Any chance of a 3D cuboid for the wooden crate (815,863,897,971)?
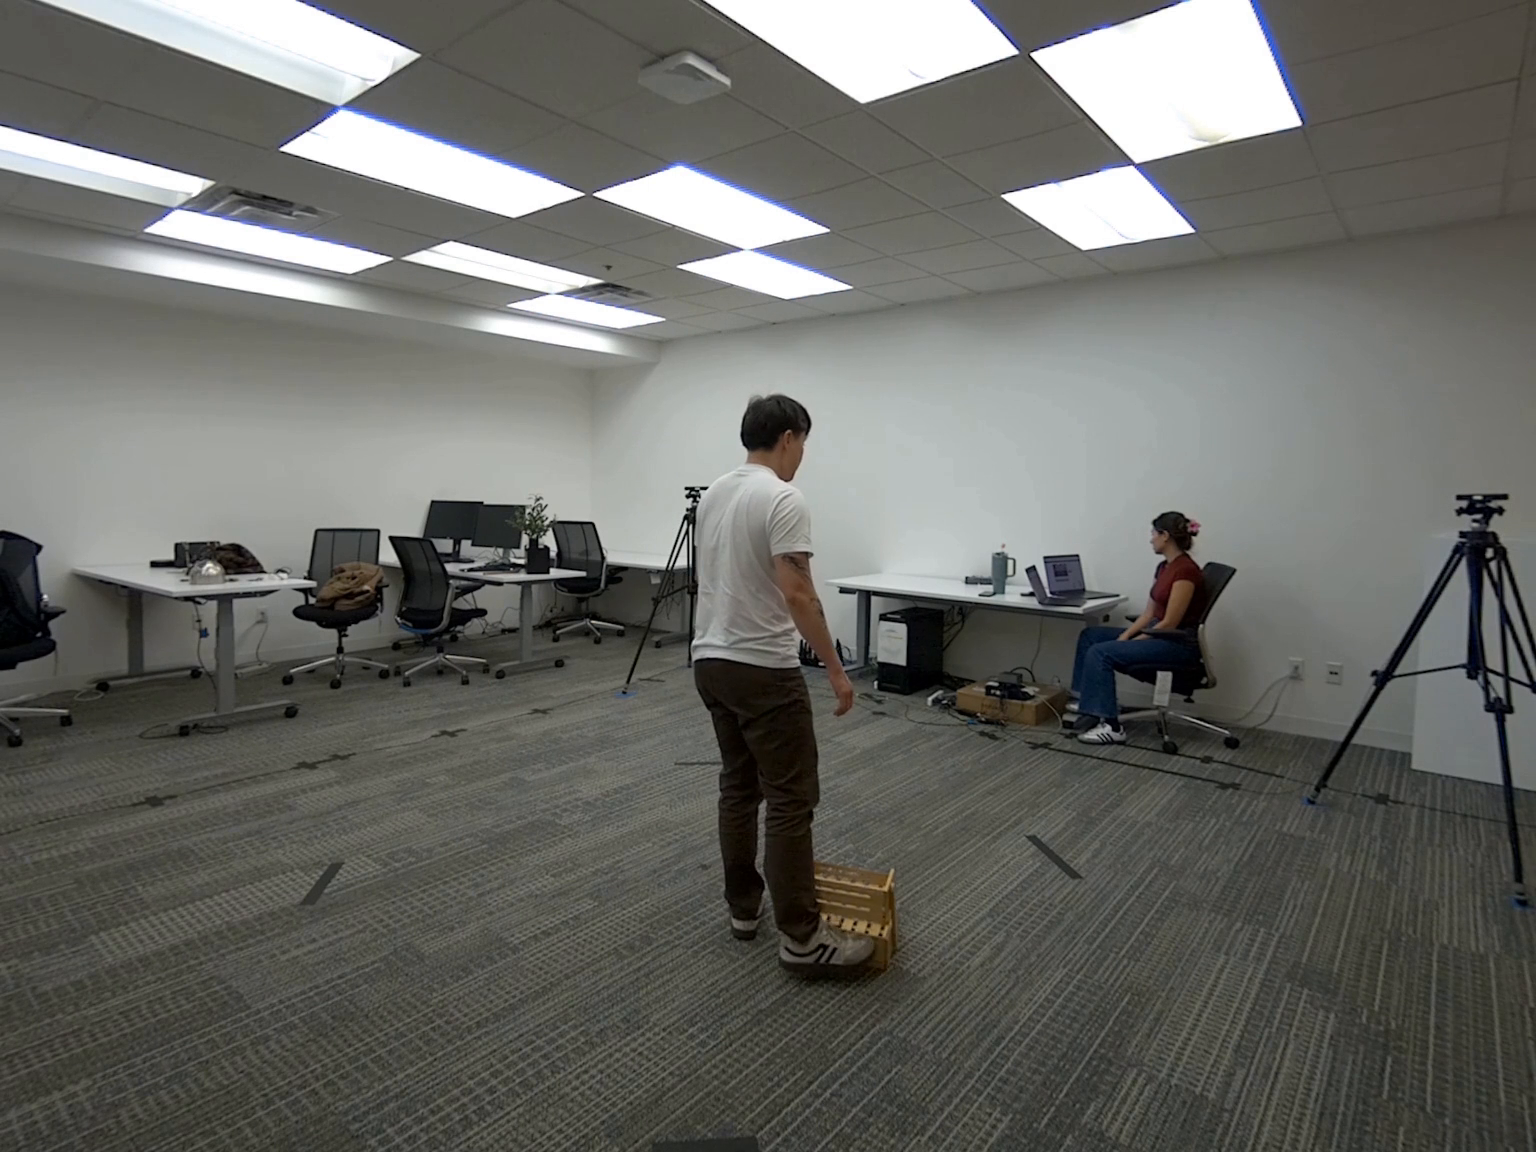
[{"bbox_3d":[0.230,0.986,2.630,0.330,0.272,0.298,2,4,15],"label":"wooden crate"}]
